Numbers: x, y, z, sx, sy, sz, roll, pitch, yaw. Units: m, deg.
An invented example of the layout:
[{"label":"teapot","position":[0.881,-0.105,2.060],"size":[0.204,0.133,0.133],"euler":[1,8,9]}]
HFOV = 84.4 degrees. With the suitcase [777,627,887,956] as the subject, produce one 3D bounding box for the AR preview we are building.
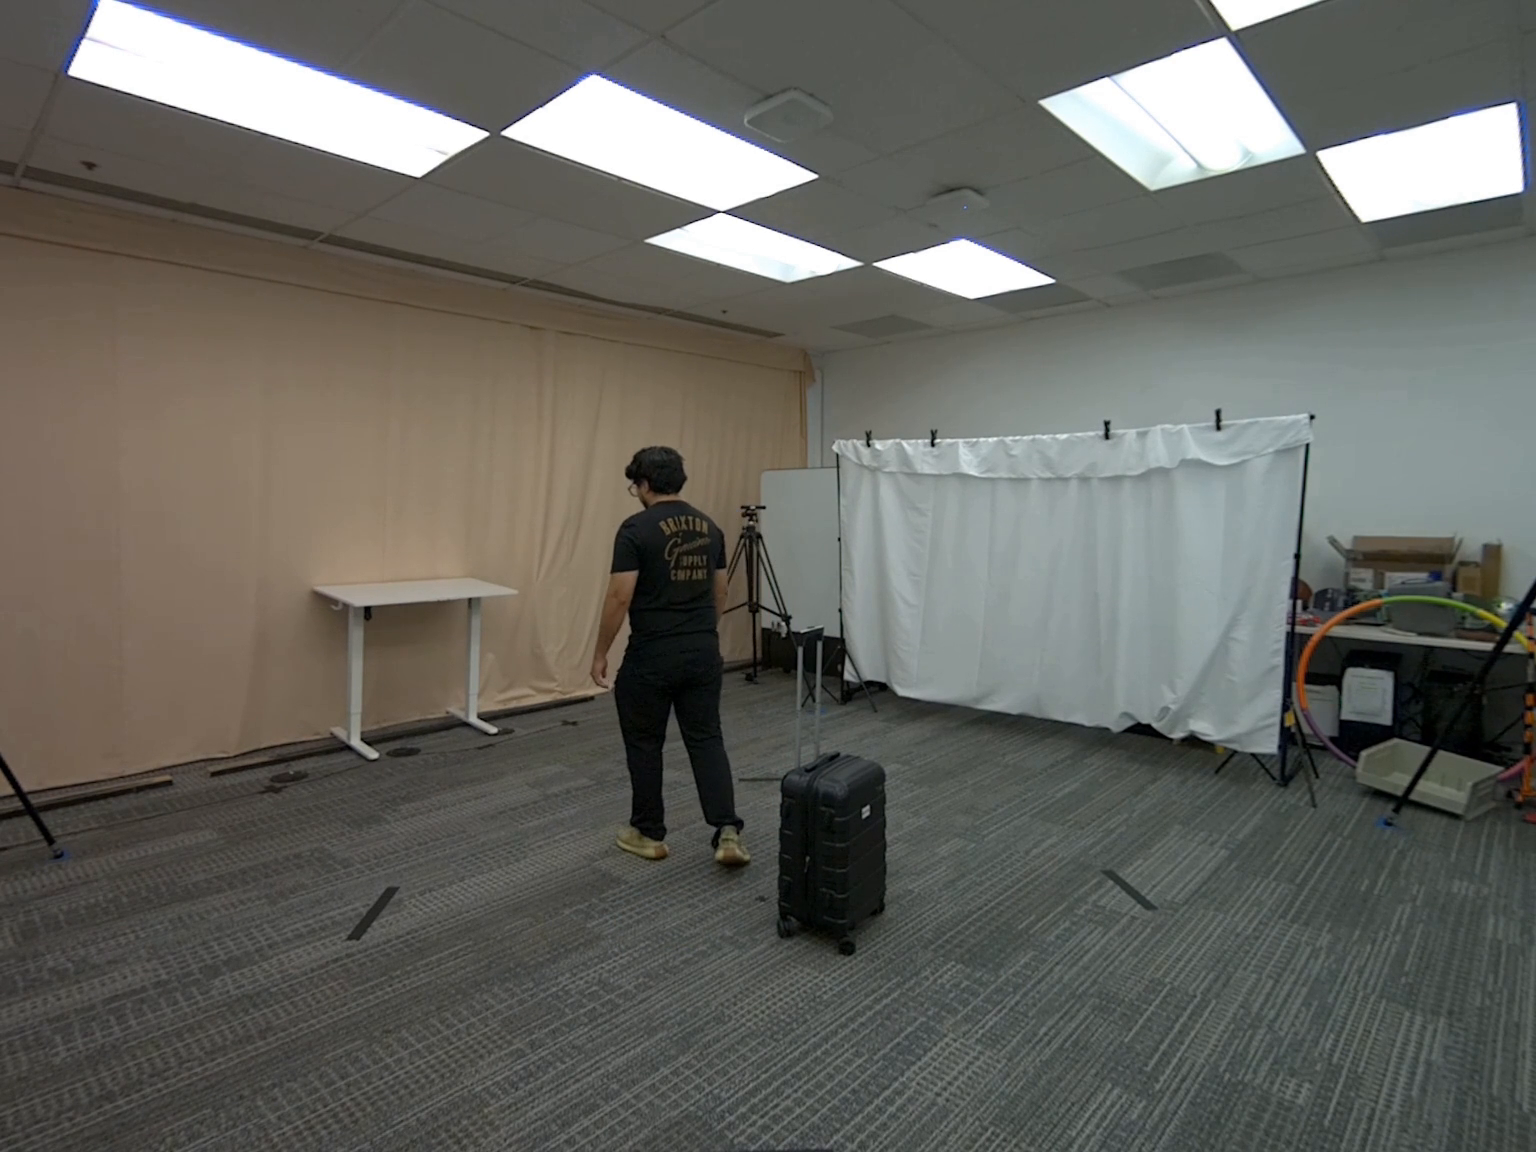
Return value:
[{"label":"suitcase","position":[0.230,0.686,2.775],"size":[0.265,0.976,0.373],"euler":[4,5,30]}]
